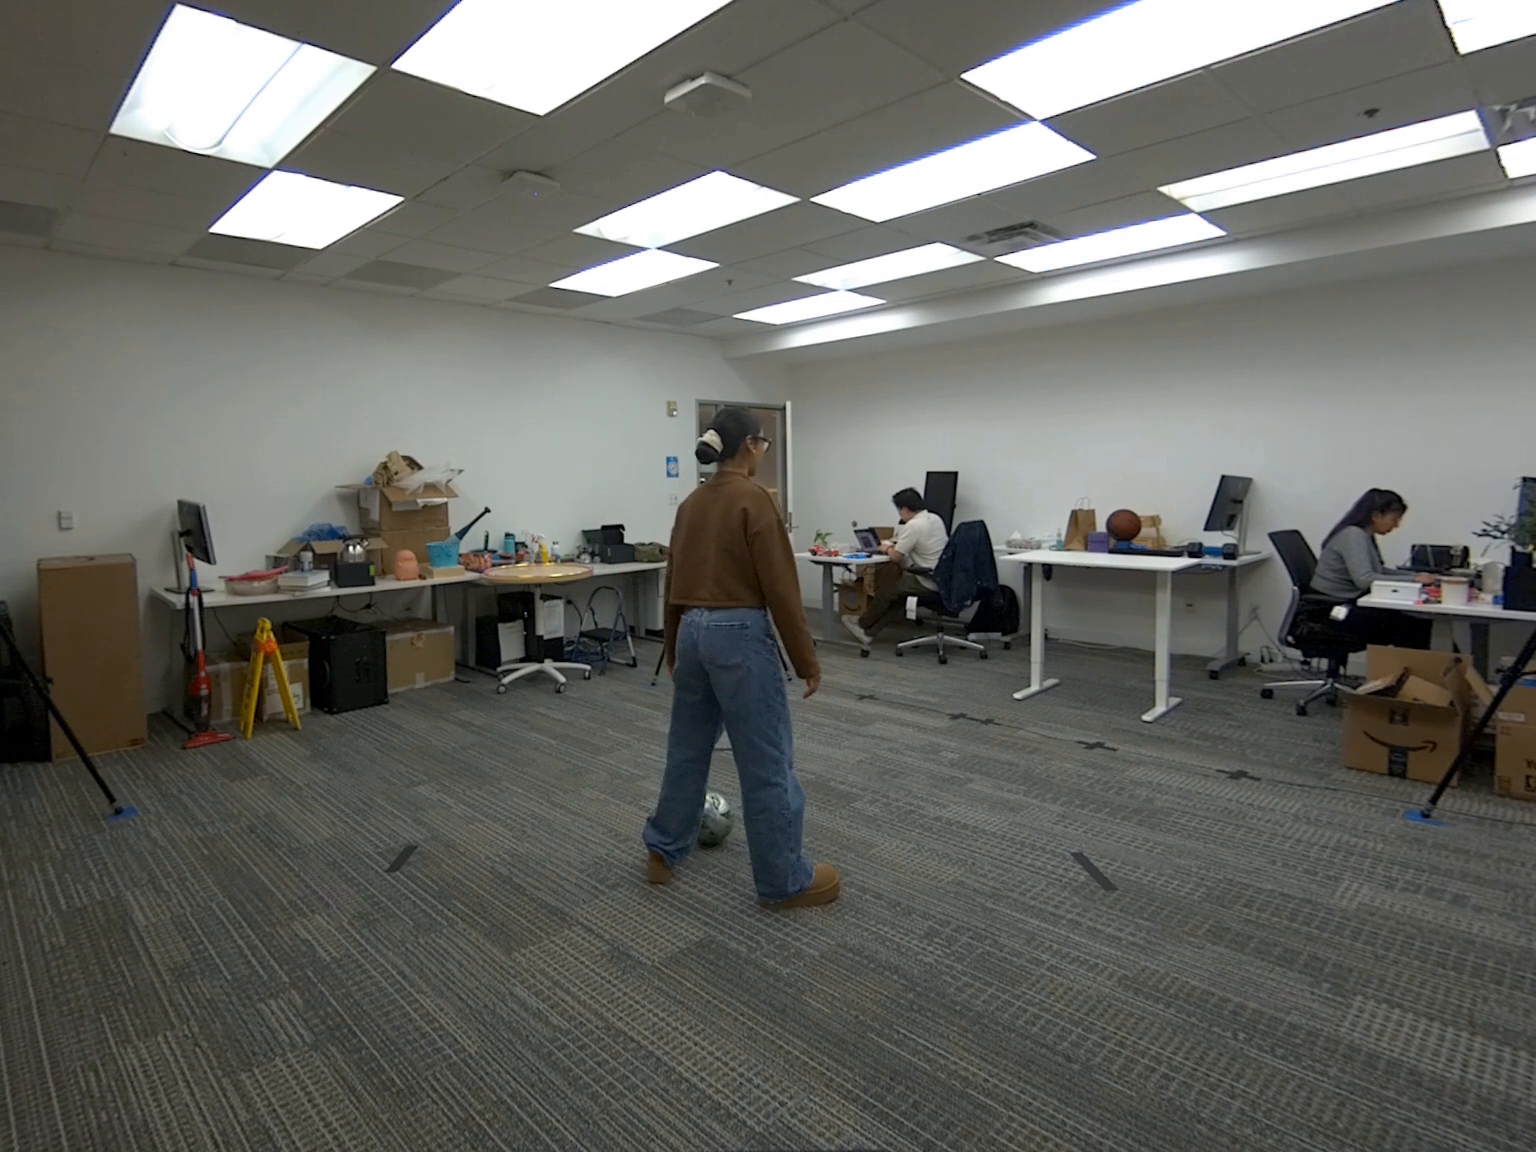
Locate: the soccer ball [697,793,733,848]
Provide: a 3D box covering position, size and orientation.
[{"bbox_3d":[-0.217,0.932,3.292,0.187,0.187,0.188,-1,5,-2],"label":"soccer ball"}]
